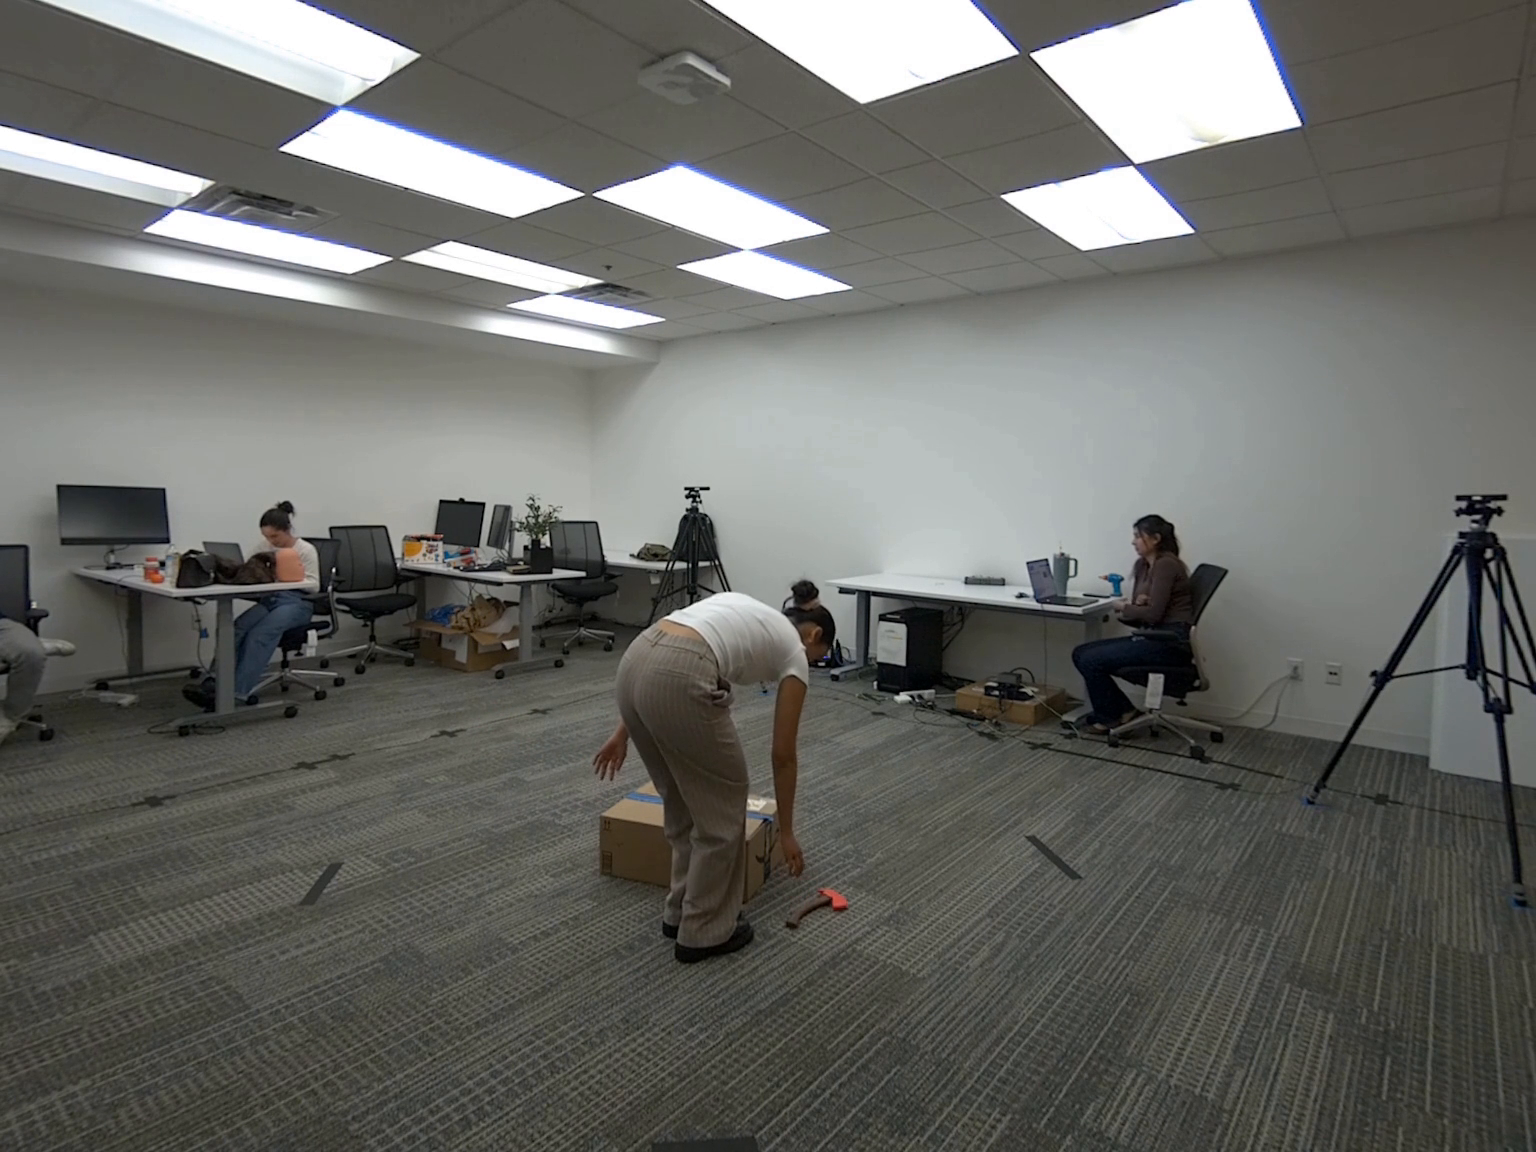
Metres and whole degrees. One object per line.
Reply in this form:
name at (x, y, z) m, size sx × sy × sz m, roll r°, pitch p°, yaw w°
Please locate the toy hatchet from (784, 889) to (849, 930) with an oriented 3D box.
toy hatchet at (0.171, 1.095, 2.783) m, size 0.135 × 0.029 × 0.264 m, roll 6°, pitch 8°, yaw 28°
